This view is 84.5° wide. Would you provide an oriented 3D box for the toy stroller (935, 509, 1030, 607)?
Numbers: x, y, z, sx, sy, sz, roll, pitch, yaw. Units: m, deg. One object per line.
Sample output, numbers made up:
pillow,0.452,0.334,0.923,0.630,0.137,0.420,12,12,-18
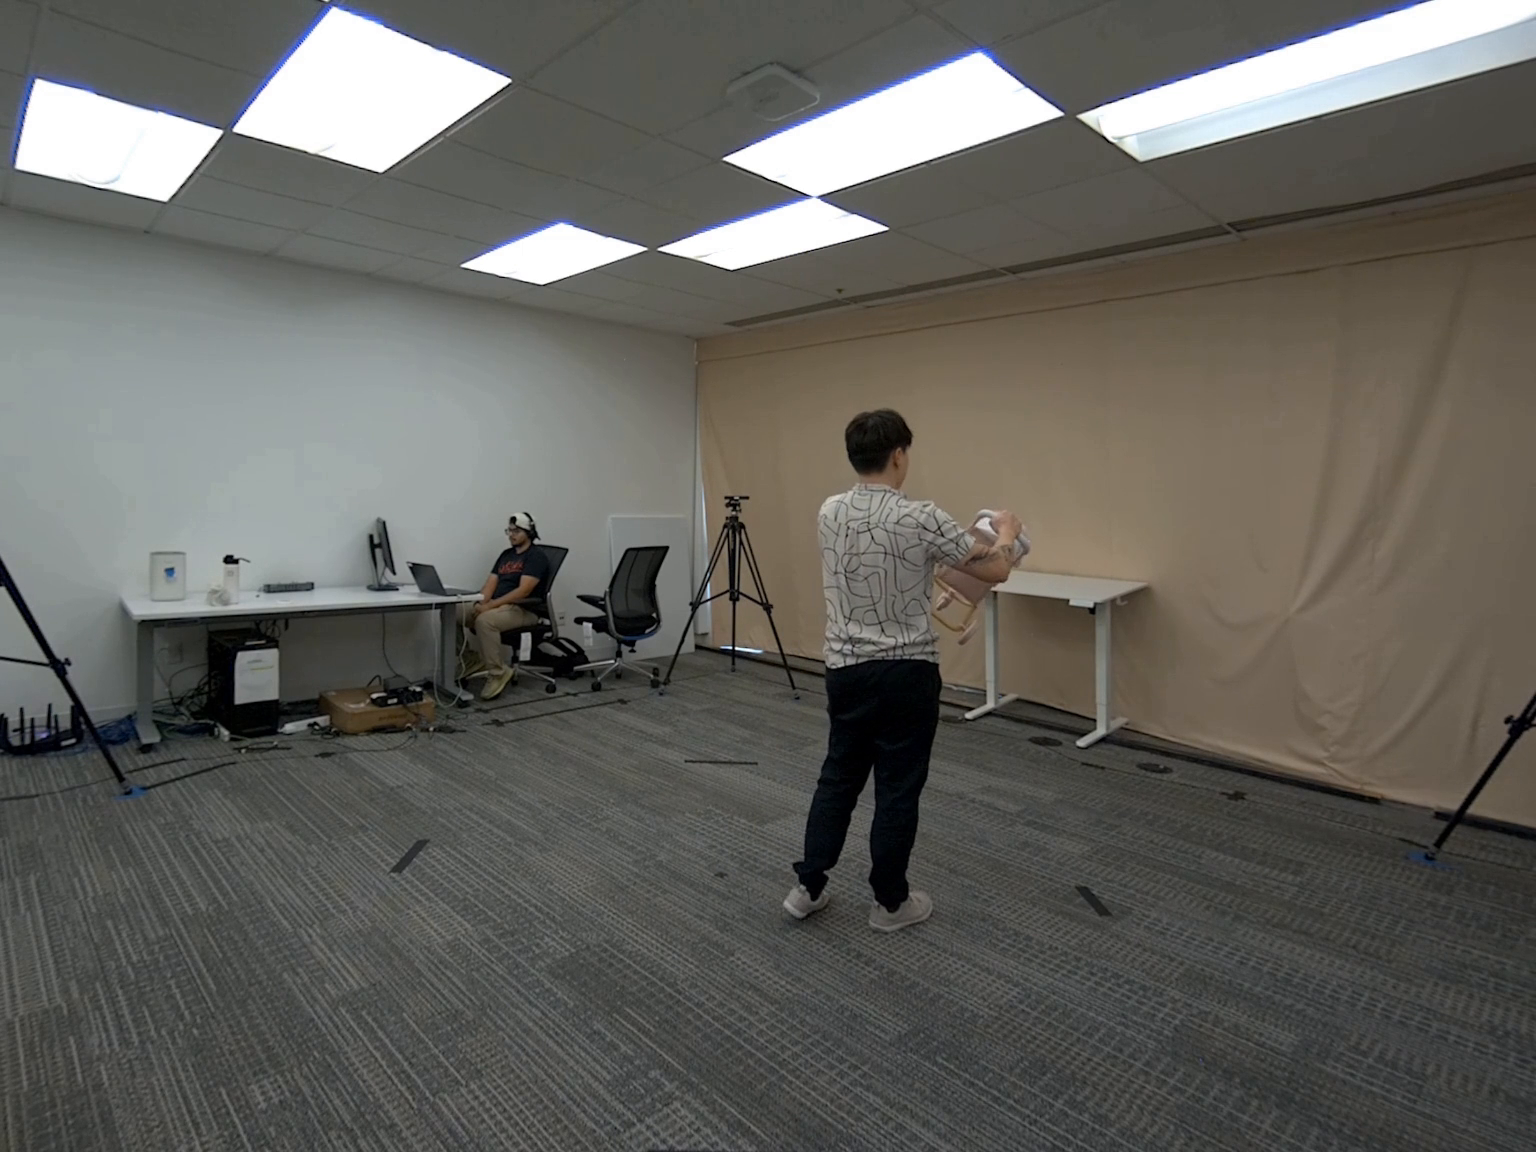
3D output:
toy stroller,0.734,-0.017,3.044,0.285,0.532,0.338,39,29,12
